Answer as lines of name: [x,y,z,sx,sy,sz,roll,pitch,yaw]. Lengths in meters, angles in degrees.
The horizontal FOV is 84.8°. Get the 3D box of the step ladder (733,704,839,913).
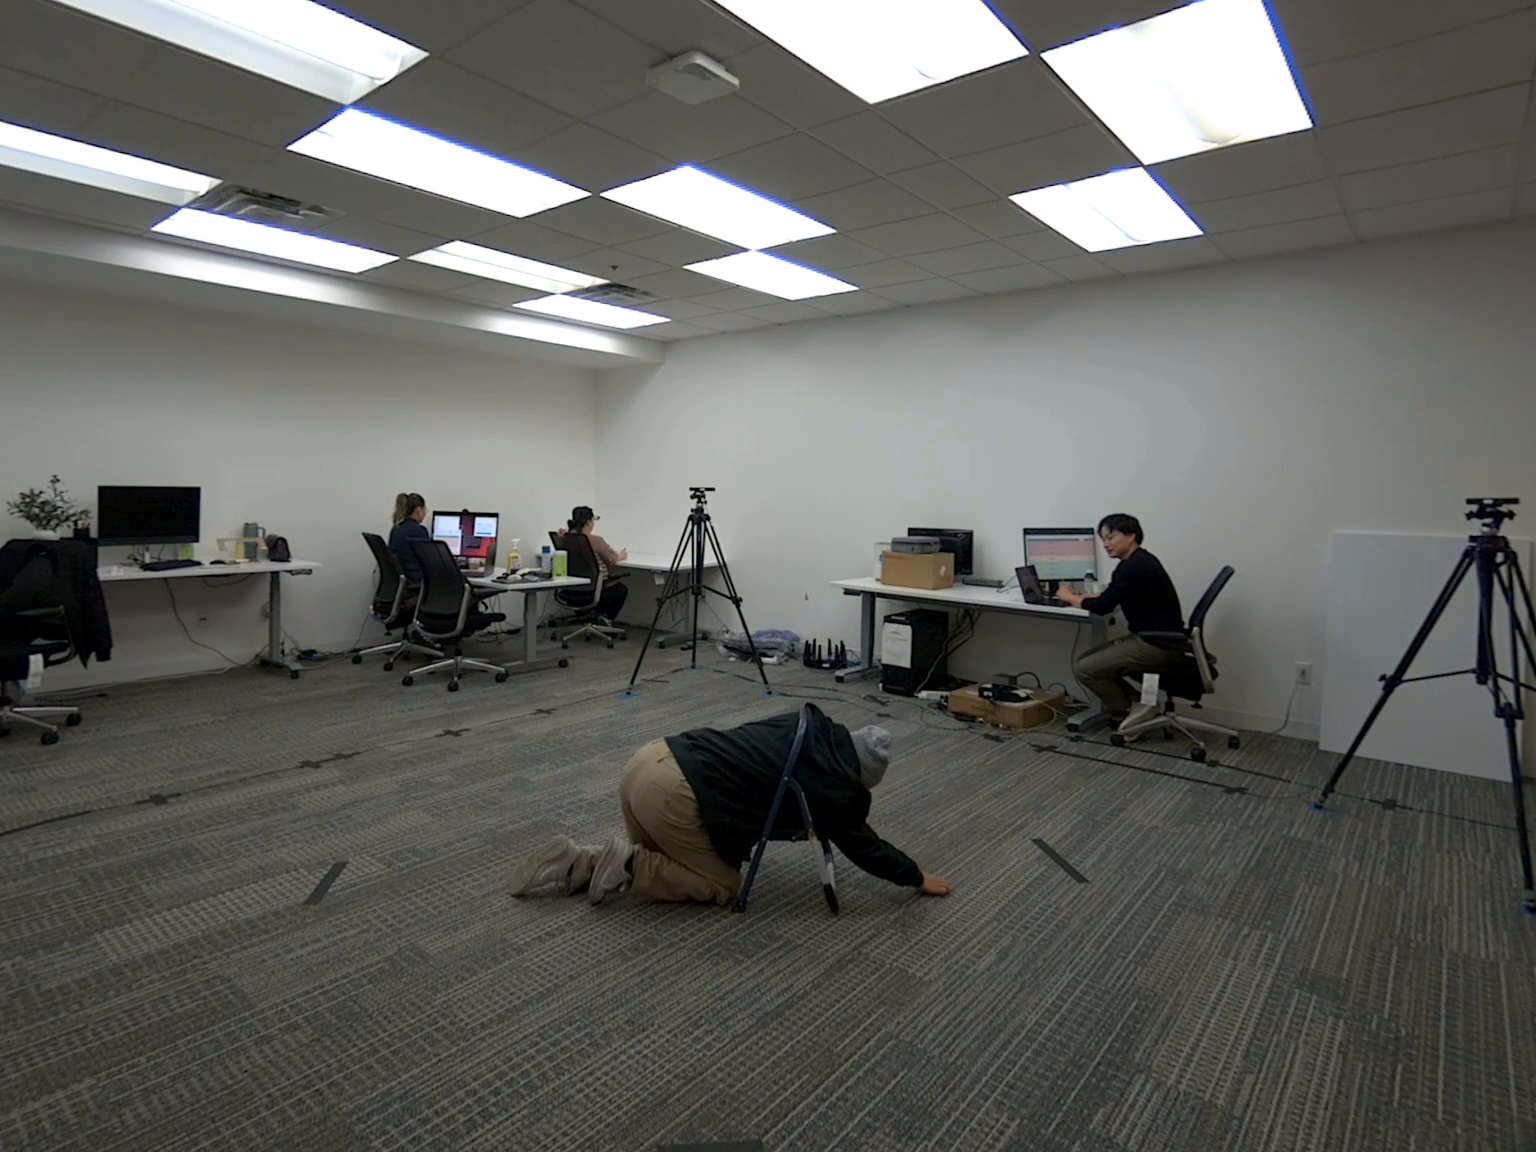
step ladder: [0.060,0.776,2.974,0.349,0.603,0.433,-2,5,-2]
